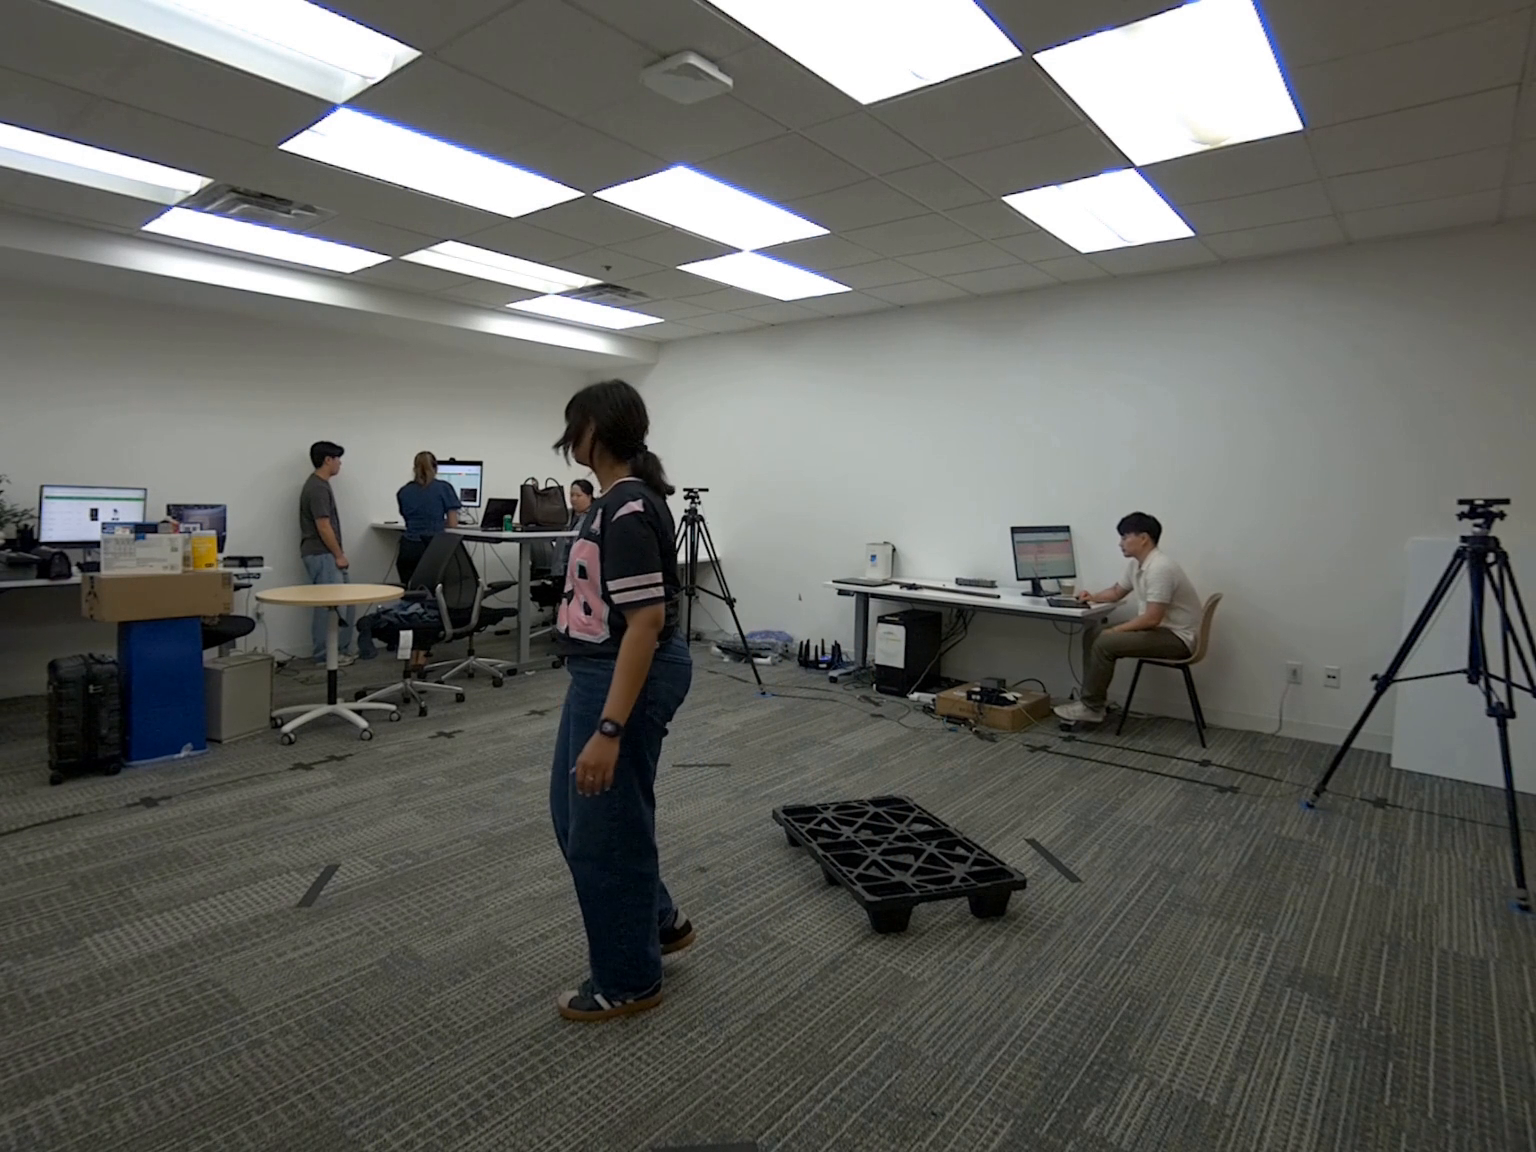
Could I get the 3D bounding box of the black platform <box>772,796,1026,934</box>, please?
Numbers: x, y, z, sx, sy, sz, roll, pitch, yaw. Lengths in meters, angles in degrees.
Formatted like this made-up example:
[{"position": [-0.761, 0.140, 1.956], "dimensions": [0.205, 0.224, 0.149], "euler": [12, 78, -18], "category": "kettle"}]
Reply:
[{"position": [0.425, 1.019, 3.085], "dimensions": [0.593, 0.143, 0.825], "euler": [-1, 6, -20], "category": "black platform"}]
